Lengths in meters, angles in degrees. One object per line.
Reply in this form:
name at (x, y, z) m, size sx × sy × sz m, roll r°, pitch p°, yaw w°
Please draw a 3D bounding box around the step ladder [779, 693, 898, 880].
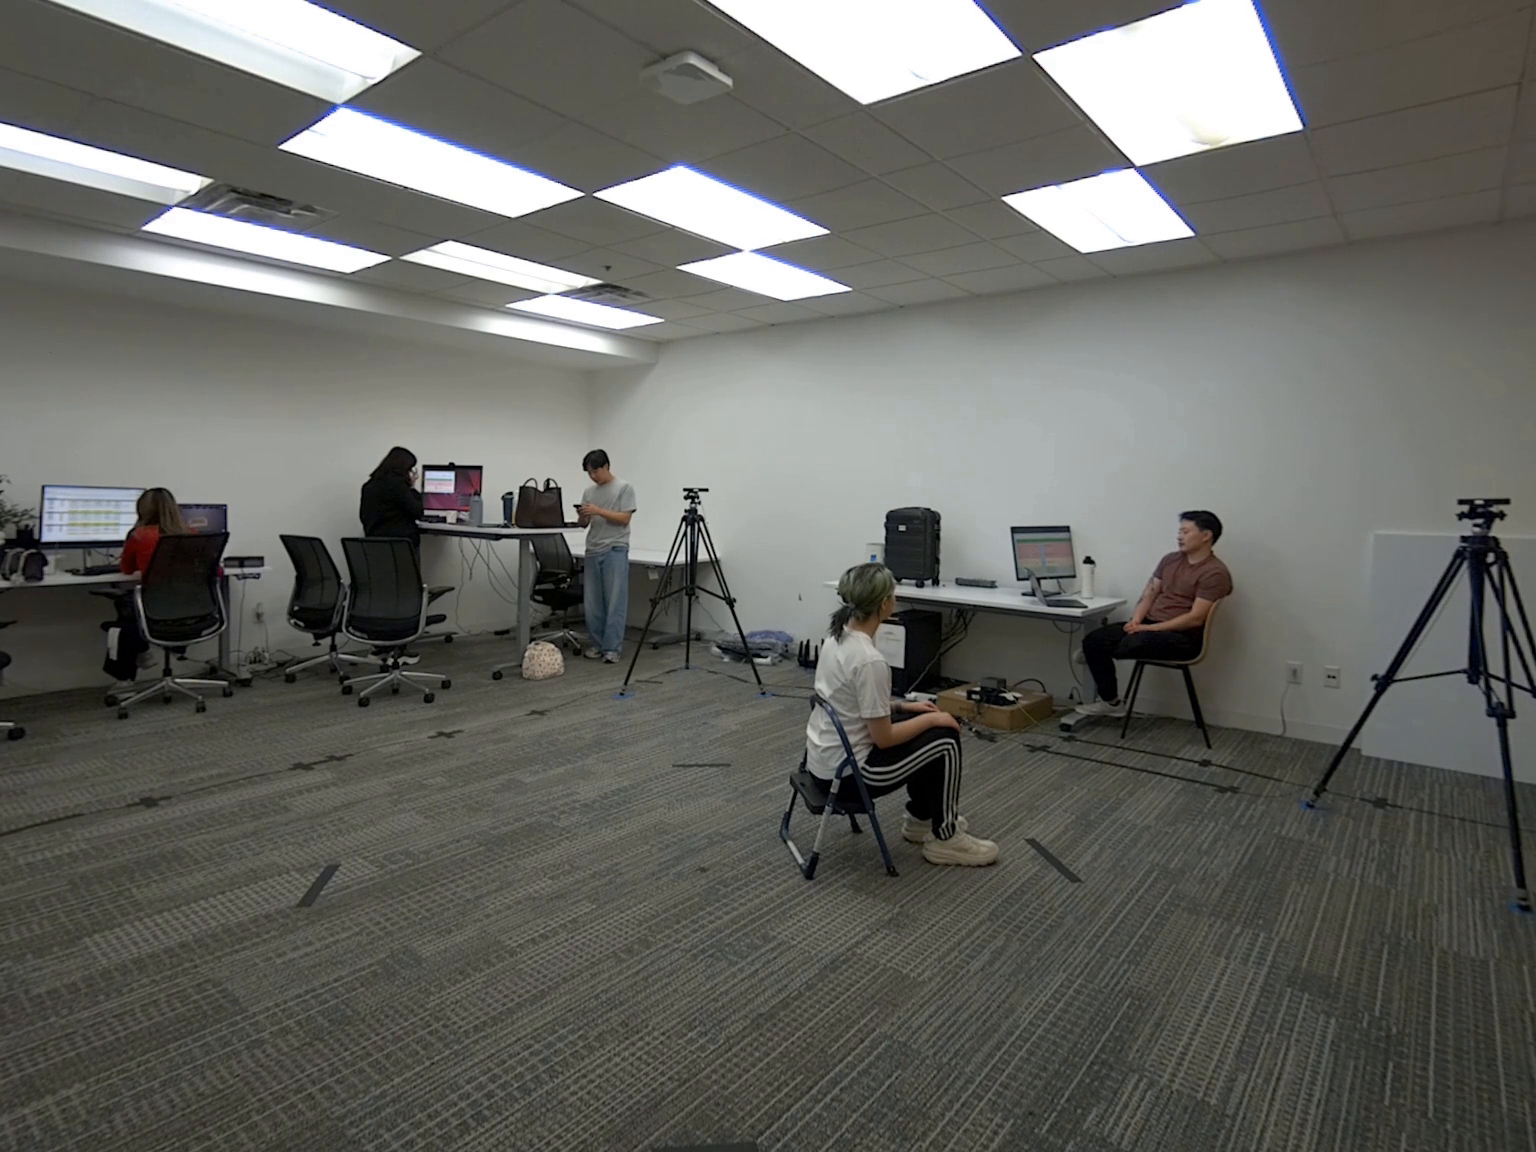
step ladder at (0.257, 0.769, 3.258) m, size 0.345 × 0.604 × 0.437 m, roll 2°, pitch 3°, yaw -12°
